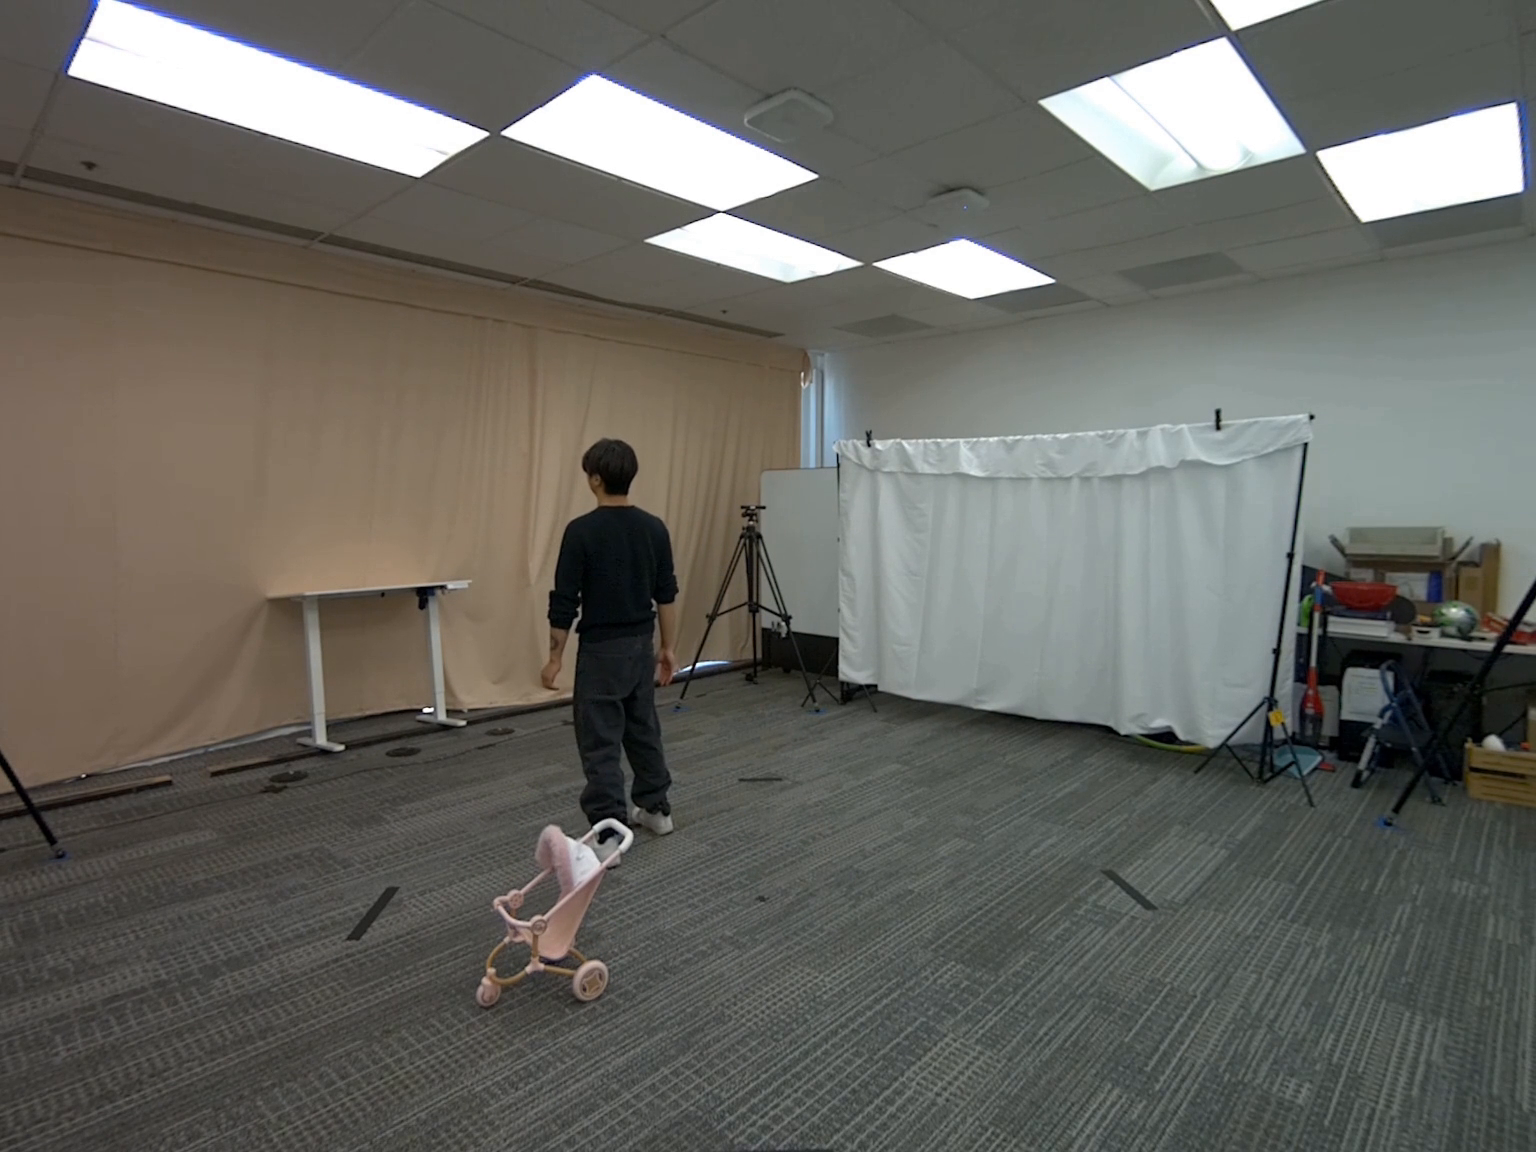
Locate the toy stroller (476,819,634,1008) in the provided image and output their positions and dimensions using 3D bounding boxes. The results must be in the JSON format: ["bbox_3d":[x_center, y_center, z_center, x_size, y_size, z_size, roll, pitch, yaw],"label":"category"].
[{"bbox_3d":[-0.624,0.968,2.438,0.331,0.536,0.289,17,-6,-29],"label":"toy stroller"}]
